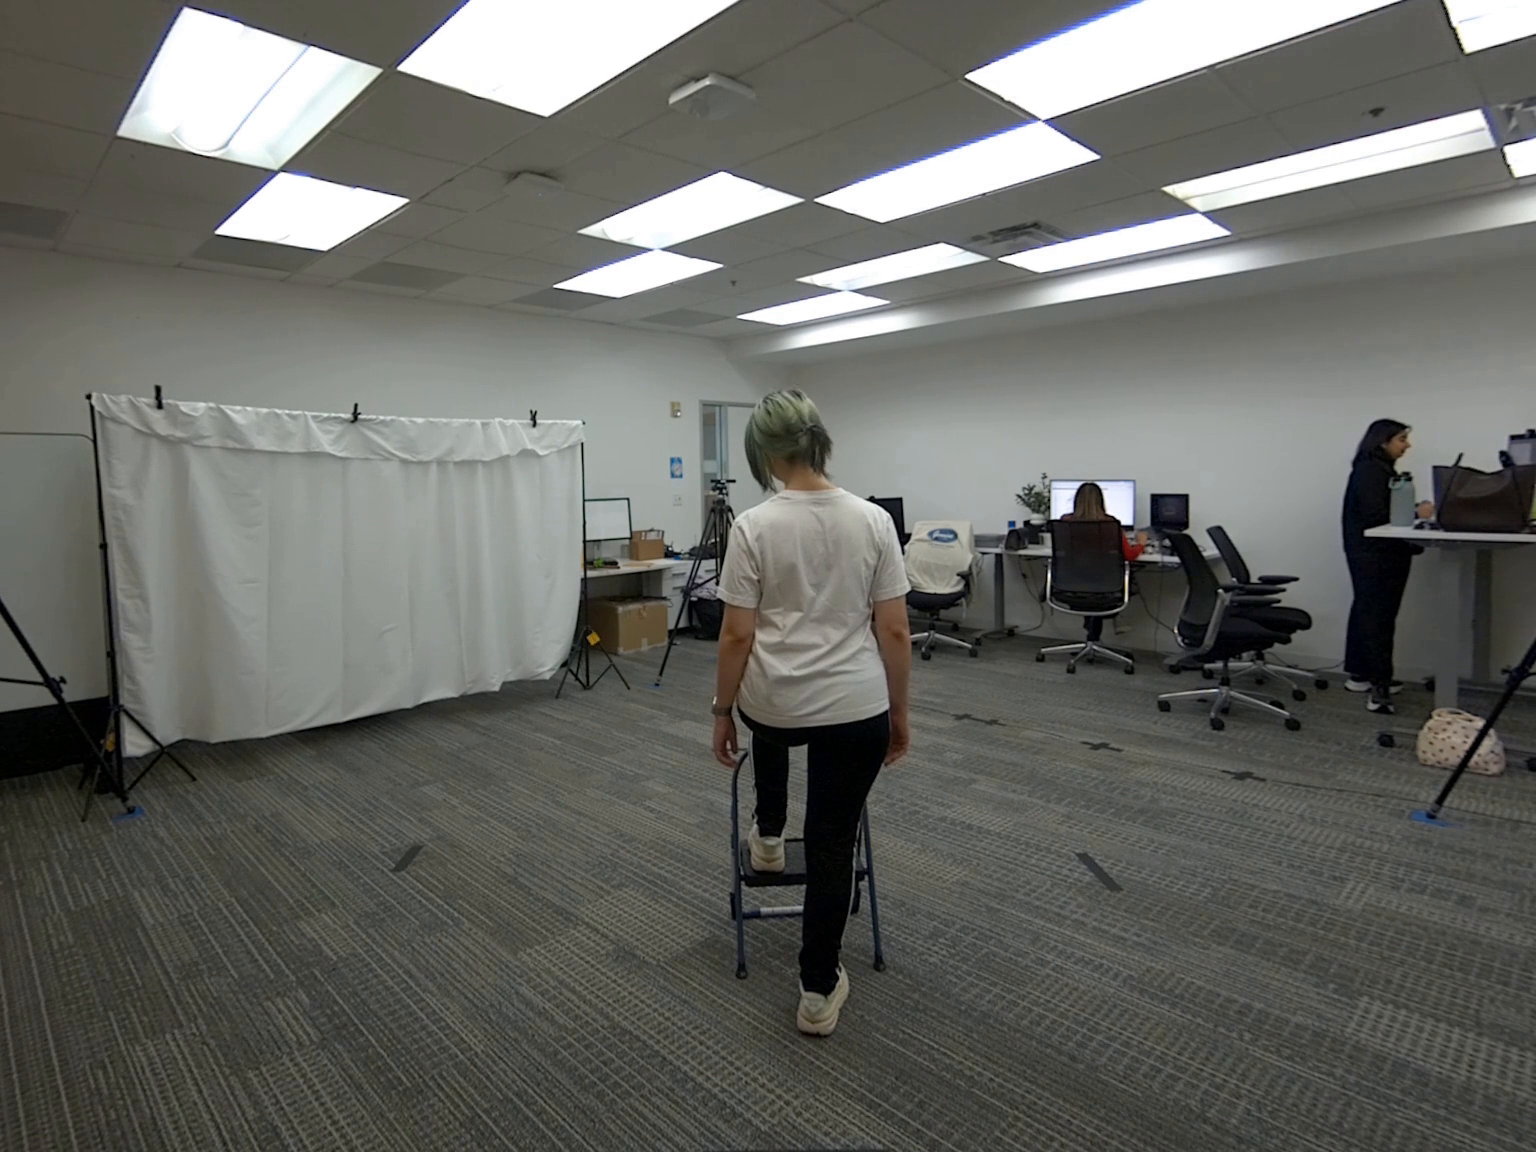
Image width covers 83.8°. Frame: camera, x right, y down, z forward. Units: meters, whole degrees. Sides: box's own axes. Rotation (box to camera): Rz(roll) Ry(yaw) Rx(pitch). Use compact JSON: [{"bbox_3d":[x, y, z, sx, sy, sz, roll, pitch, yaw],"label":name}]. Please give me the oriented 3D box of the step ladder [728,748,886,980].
[{"bbox_3d":[0.107,0.812,2.564,0.429,0.603,0.352,-1,5,-5],"label":"step ladder"}]
